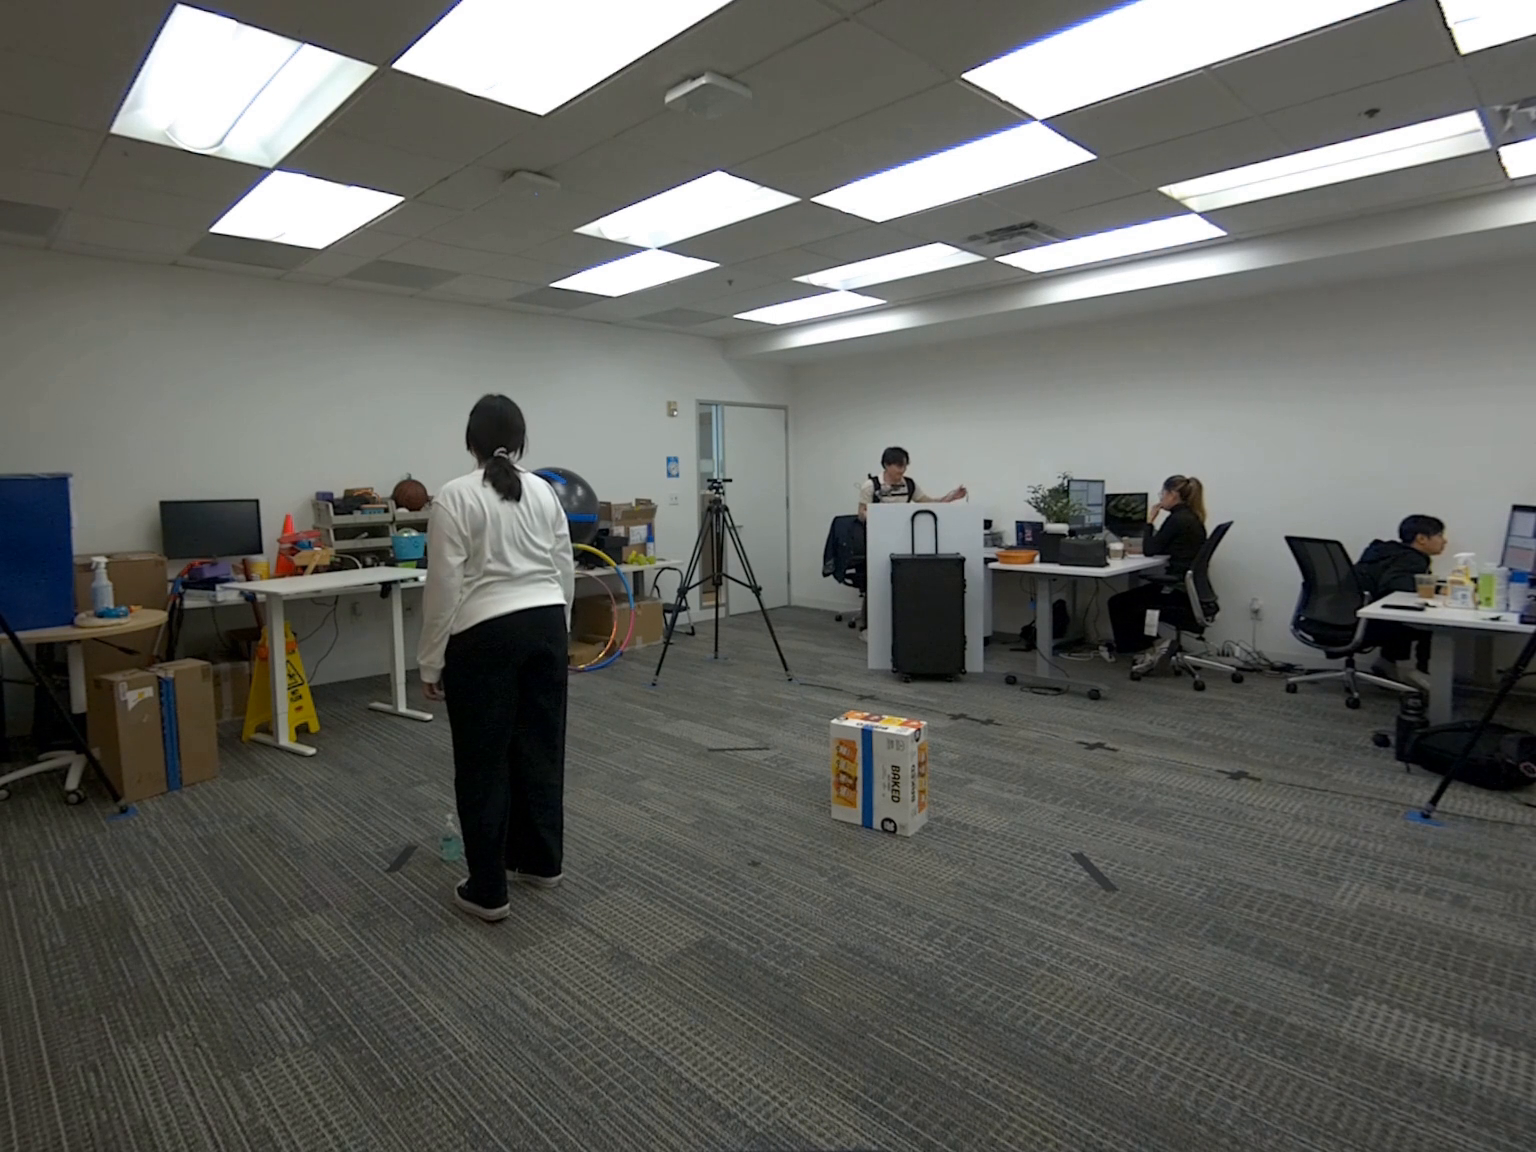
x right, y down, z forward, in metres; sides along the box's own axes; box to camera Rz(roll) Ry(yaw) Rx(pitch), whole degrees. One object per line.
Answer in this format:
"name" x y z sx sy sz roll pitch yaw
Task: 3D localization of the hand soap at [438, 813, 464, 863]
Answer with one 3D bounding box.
"hand soap" -1.193 0.977 3.204 0.085 0.168 0.043 -1 -1 3
